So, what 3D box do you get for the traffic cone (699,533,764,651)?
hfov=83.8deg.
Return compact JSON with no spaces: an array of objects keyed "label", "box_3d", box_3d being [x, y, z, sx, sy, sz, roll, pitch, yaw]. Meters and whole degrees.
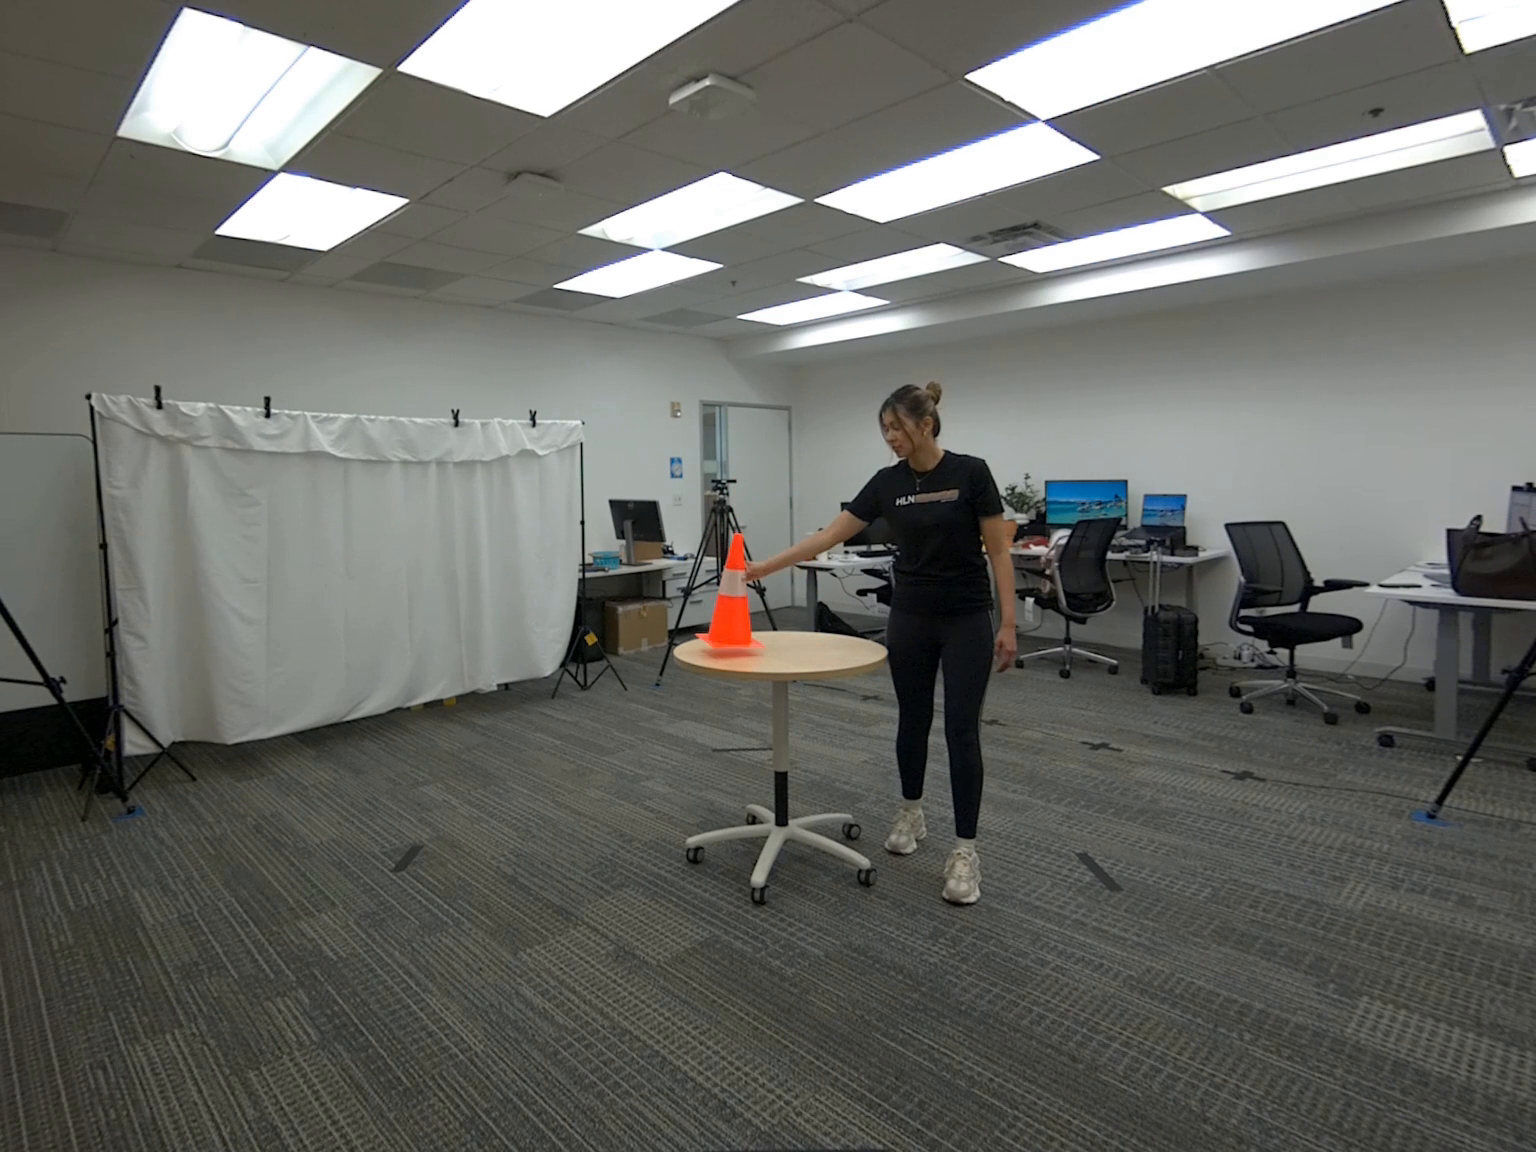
[{"label":"traffic cone","box_3d":[-0.113,0.034,2.997,0.211,0.381,0.198,9,9,36]}]
